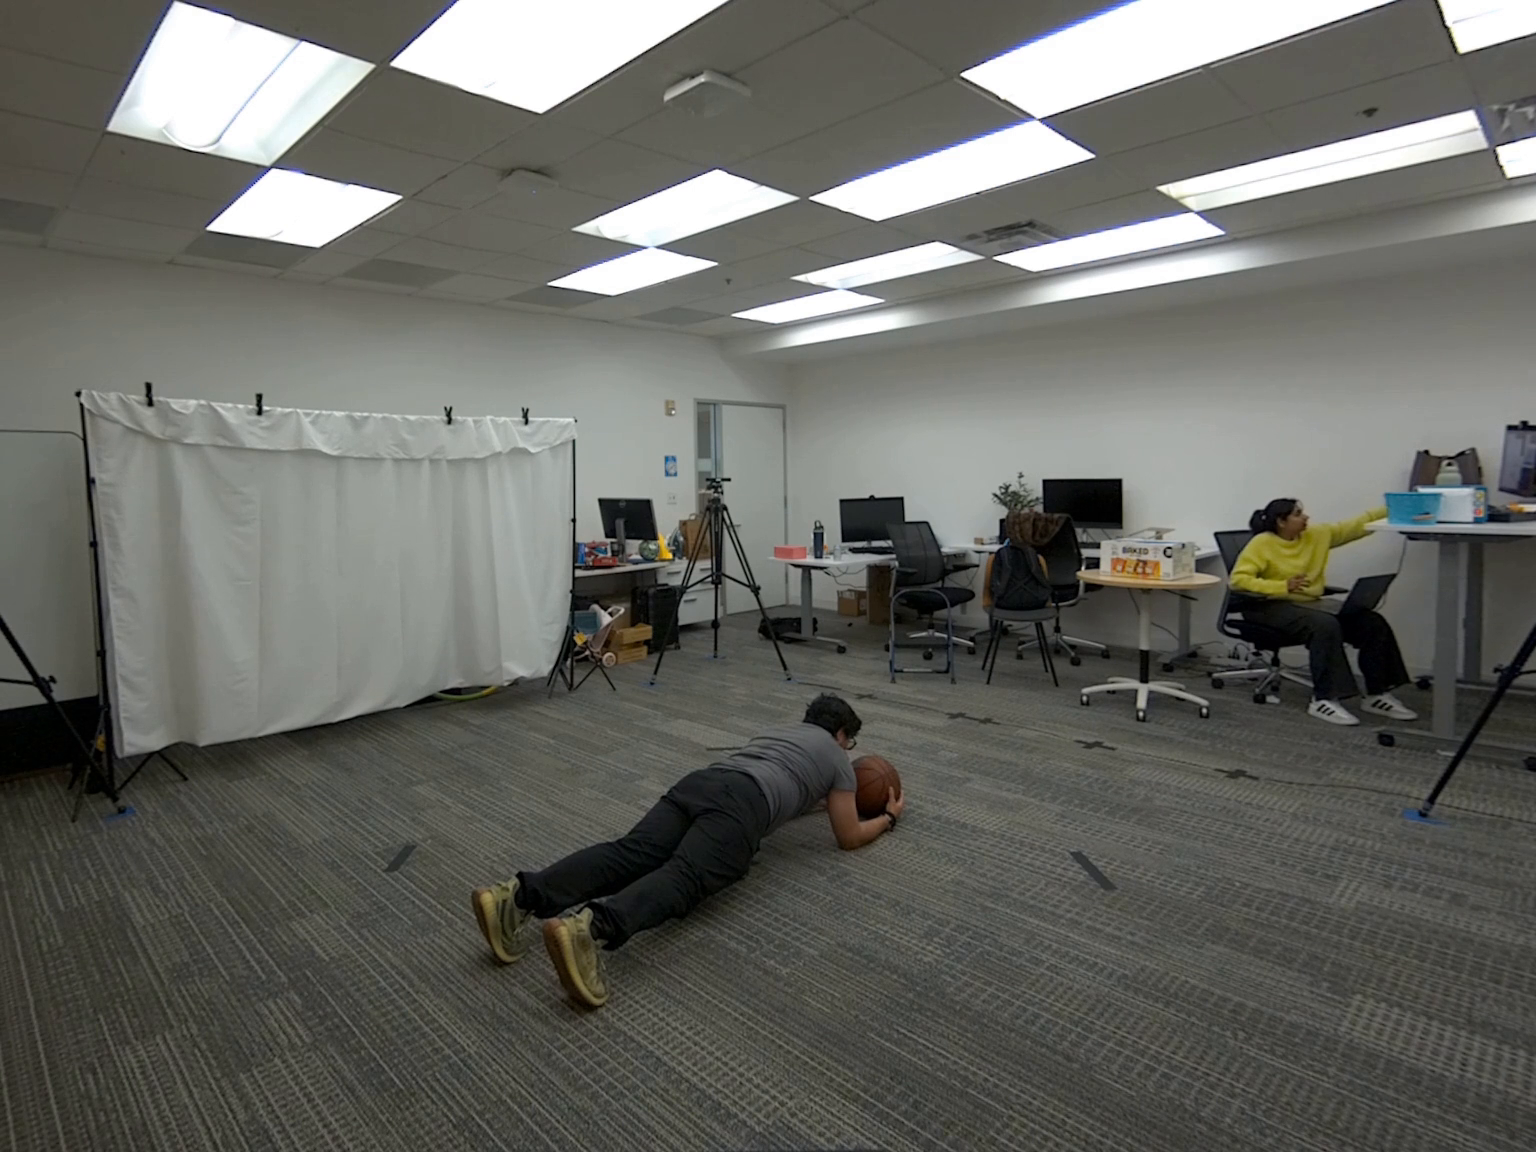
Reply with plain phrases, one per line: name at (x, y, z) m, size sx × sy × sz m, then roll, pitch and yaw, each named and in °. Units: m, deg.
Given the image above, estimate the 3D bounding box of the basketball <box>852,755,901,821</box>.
basketball at (0.421, 0.861, 3.538) m, size 0.236 × 0.235 × 0.237 m, roll -1°, pitch 5°, yaw -2°
